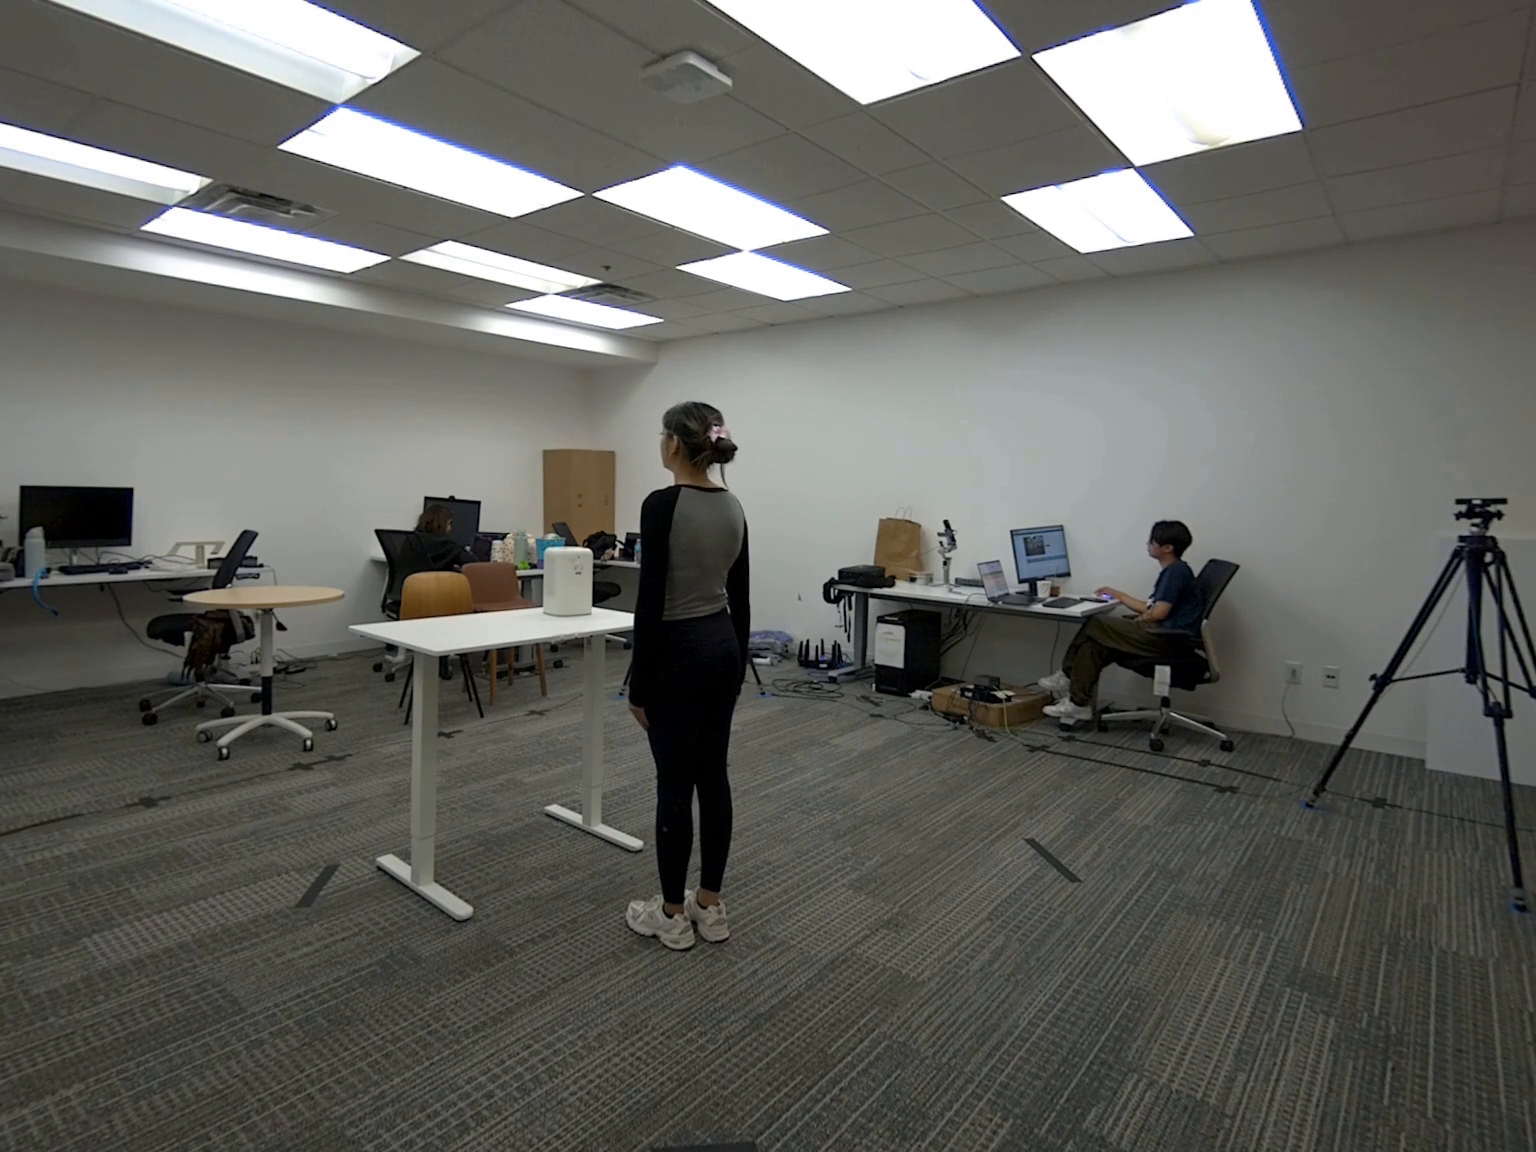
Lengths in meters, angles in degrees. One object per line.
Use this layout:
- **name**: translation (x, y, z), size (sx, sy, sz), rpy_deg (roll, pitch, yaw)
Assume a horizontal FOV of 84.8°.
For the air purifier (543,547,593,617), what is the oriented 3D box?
- **air purifier**: translation (-0.817, 0.015, 3.430), size (0.166, 0.265, 0.177), rpy_deg (1, 4, -40)
